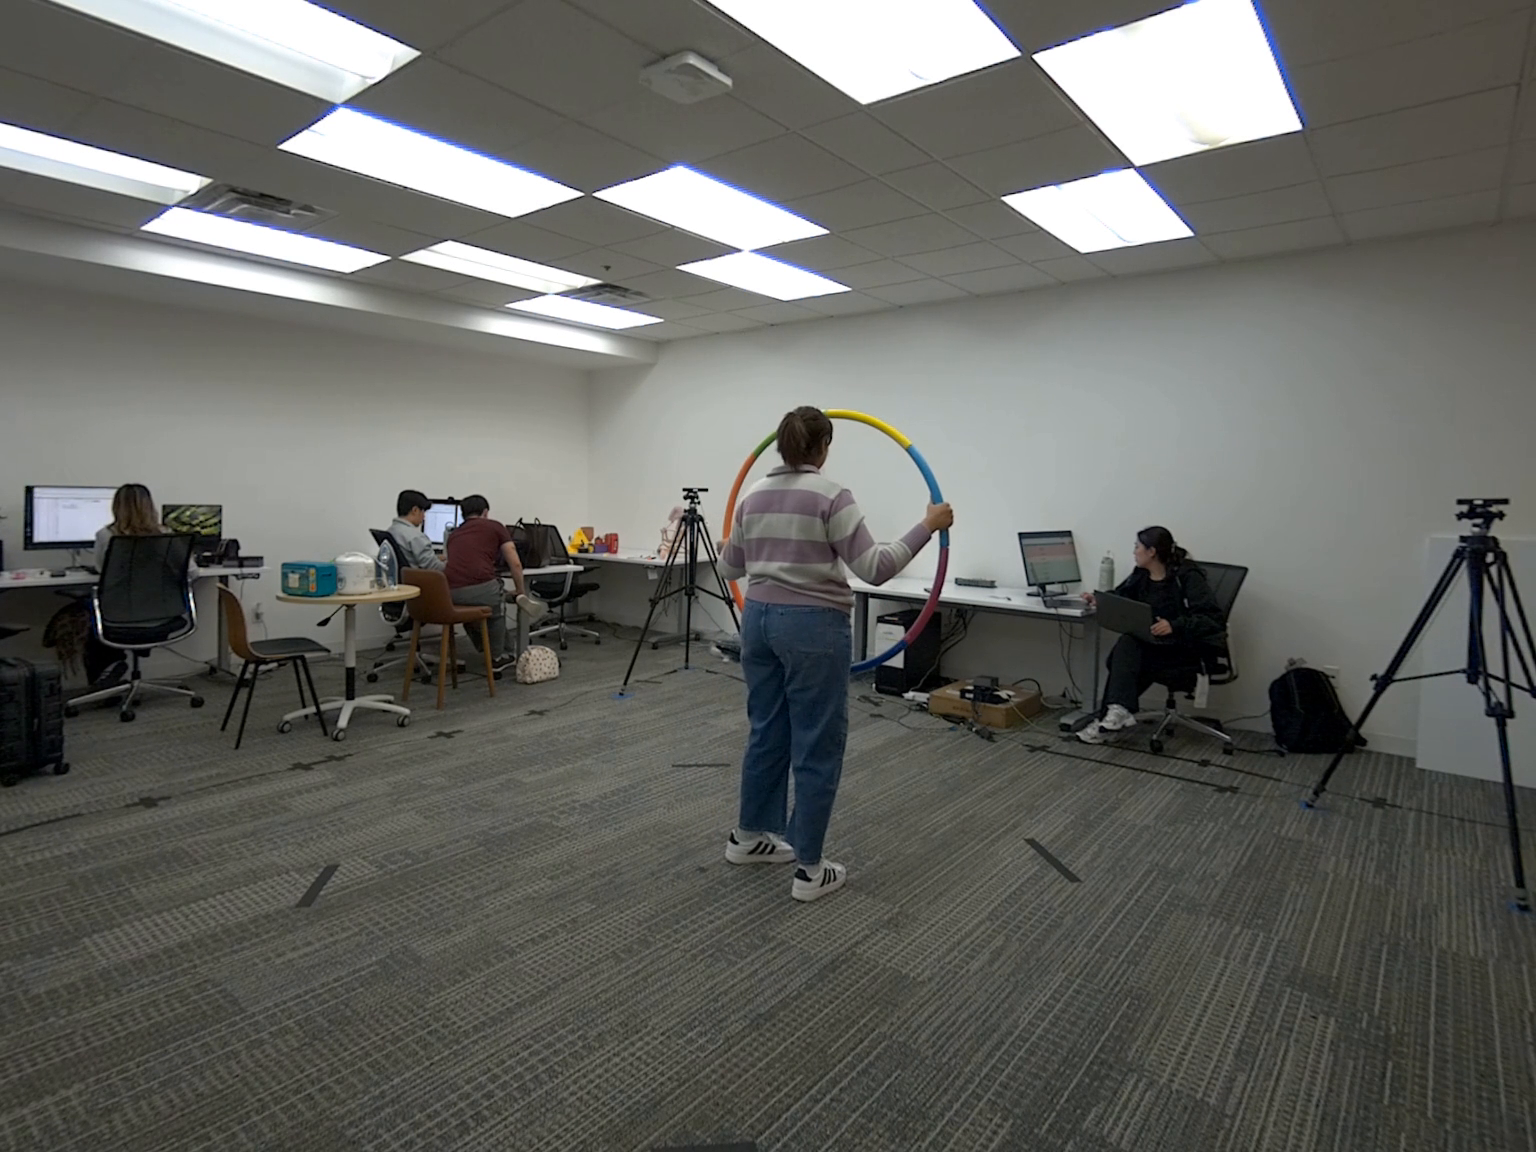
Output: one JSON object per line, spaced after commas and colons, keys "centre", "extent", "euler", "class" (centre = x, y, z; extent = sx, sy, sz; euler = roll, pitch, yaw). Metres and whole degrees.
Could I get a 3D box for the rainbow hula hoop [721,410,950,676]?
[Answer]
{"centre": [0.198, -0.135, 3.189], "extent": [1.011, 0.977, 0.034], "euler": [4, 3, 38], "class": "rainbow hula hoop"}
